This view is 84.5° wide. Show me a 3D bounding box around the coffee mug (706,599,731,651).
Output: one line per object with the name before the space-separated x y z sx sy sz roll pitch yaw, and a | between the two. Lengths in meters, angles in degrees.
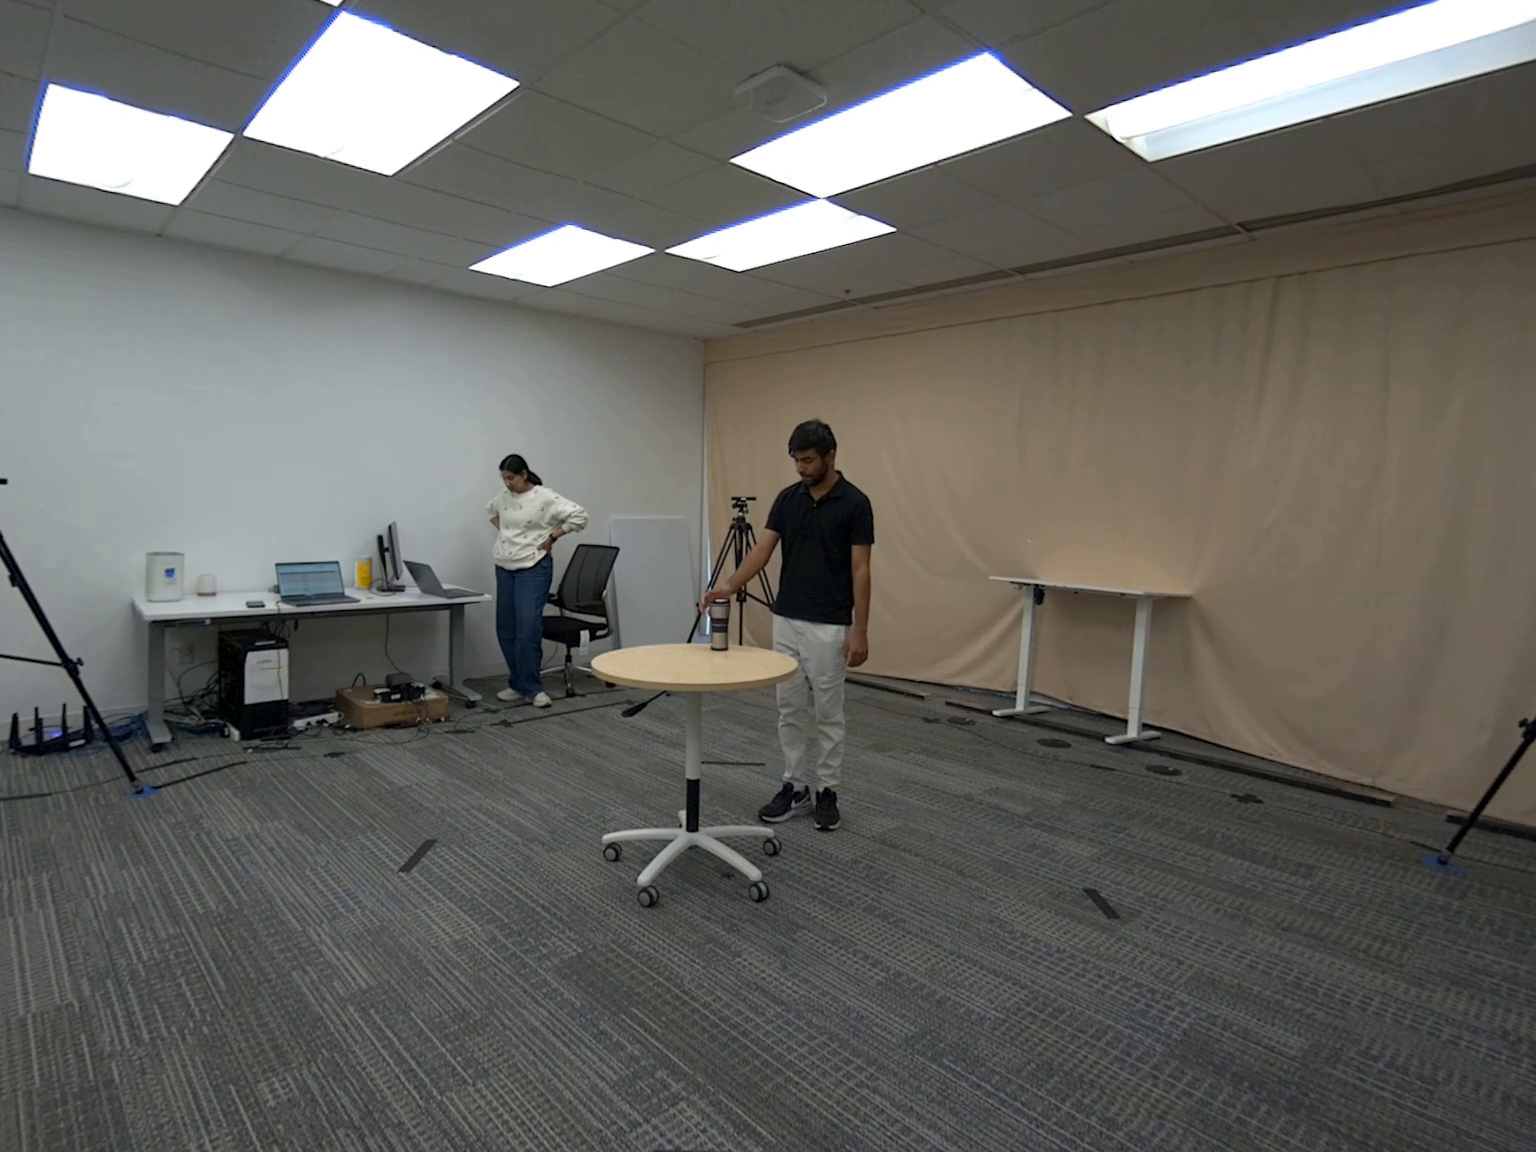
coffee mug | -0.190 0.199 3.396 0.089 0.203 0.120 -2 2 19
